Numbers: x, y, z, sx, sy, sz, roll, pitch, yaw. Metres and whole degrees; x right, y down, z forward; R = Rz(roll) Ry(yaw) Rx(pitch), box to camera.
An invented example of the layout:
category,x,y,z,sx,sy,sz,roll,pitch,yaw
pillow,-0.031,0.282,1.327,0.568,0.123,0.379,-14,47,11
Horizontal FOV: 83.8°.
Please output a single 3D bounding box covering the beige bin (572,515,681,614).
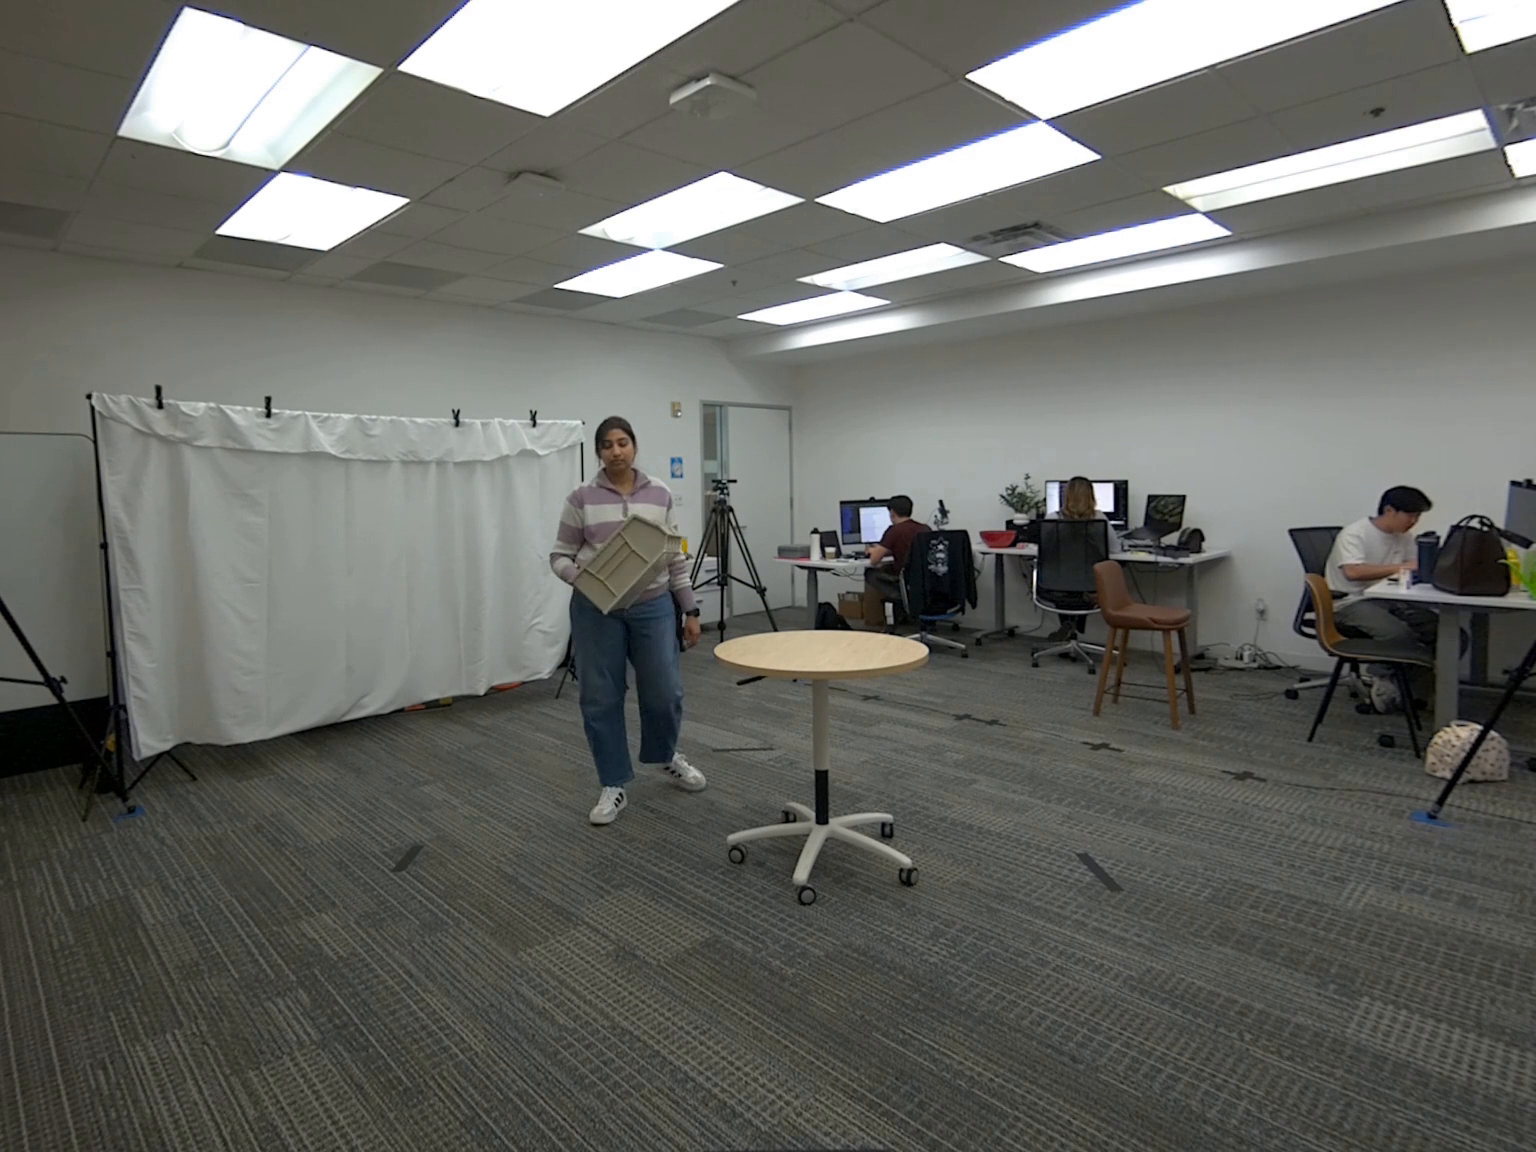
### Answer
category,x,y,z,sx,sy,sz,roll,pitch,yaw
beige bin,-0.509,-0.052,3.230,0.190,0.377,0.420,41,3,2
